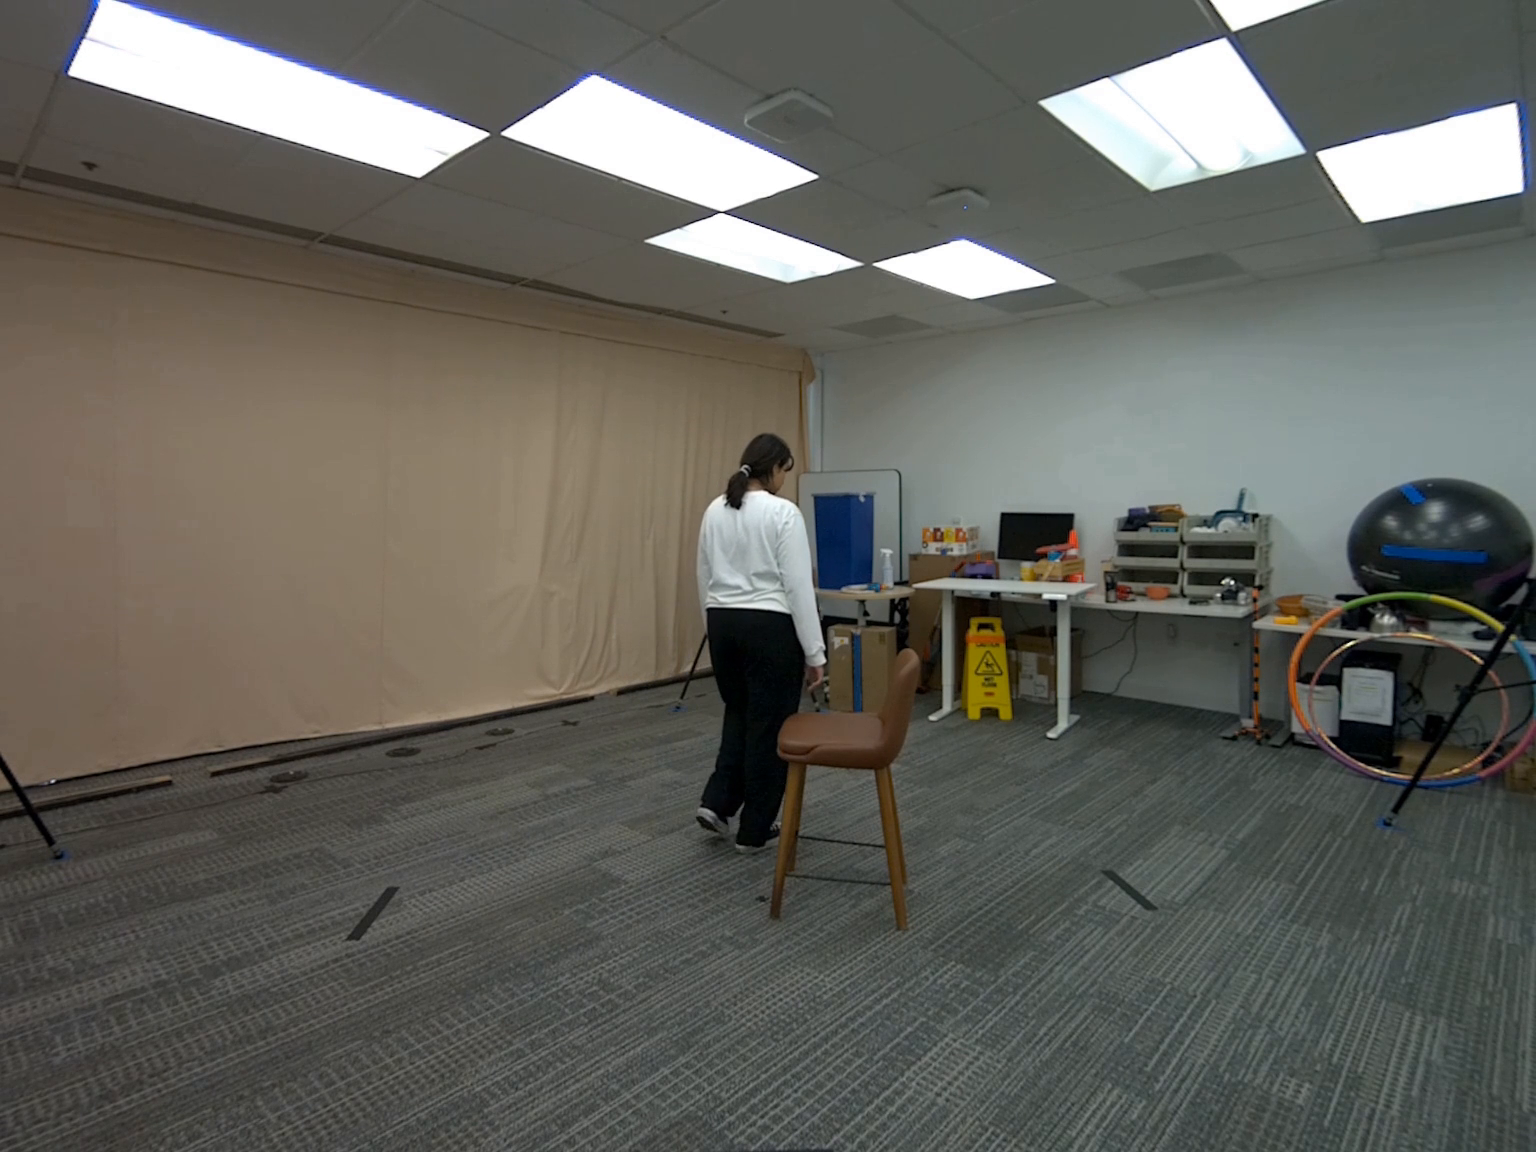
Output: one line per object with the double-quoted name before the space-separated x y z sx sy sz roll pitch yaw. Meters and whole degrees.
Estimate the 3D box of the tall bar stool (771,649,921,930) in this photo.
"tall bar stool" 0.280 0.712 2.959 0.474 0.888 0.451 2 4 12
